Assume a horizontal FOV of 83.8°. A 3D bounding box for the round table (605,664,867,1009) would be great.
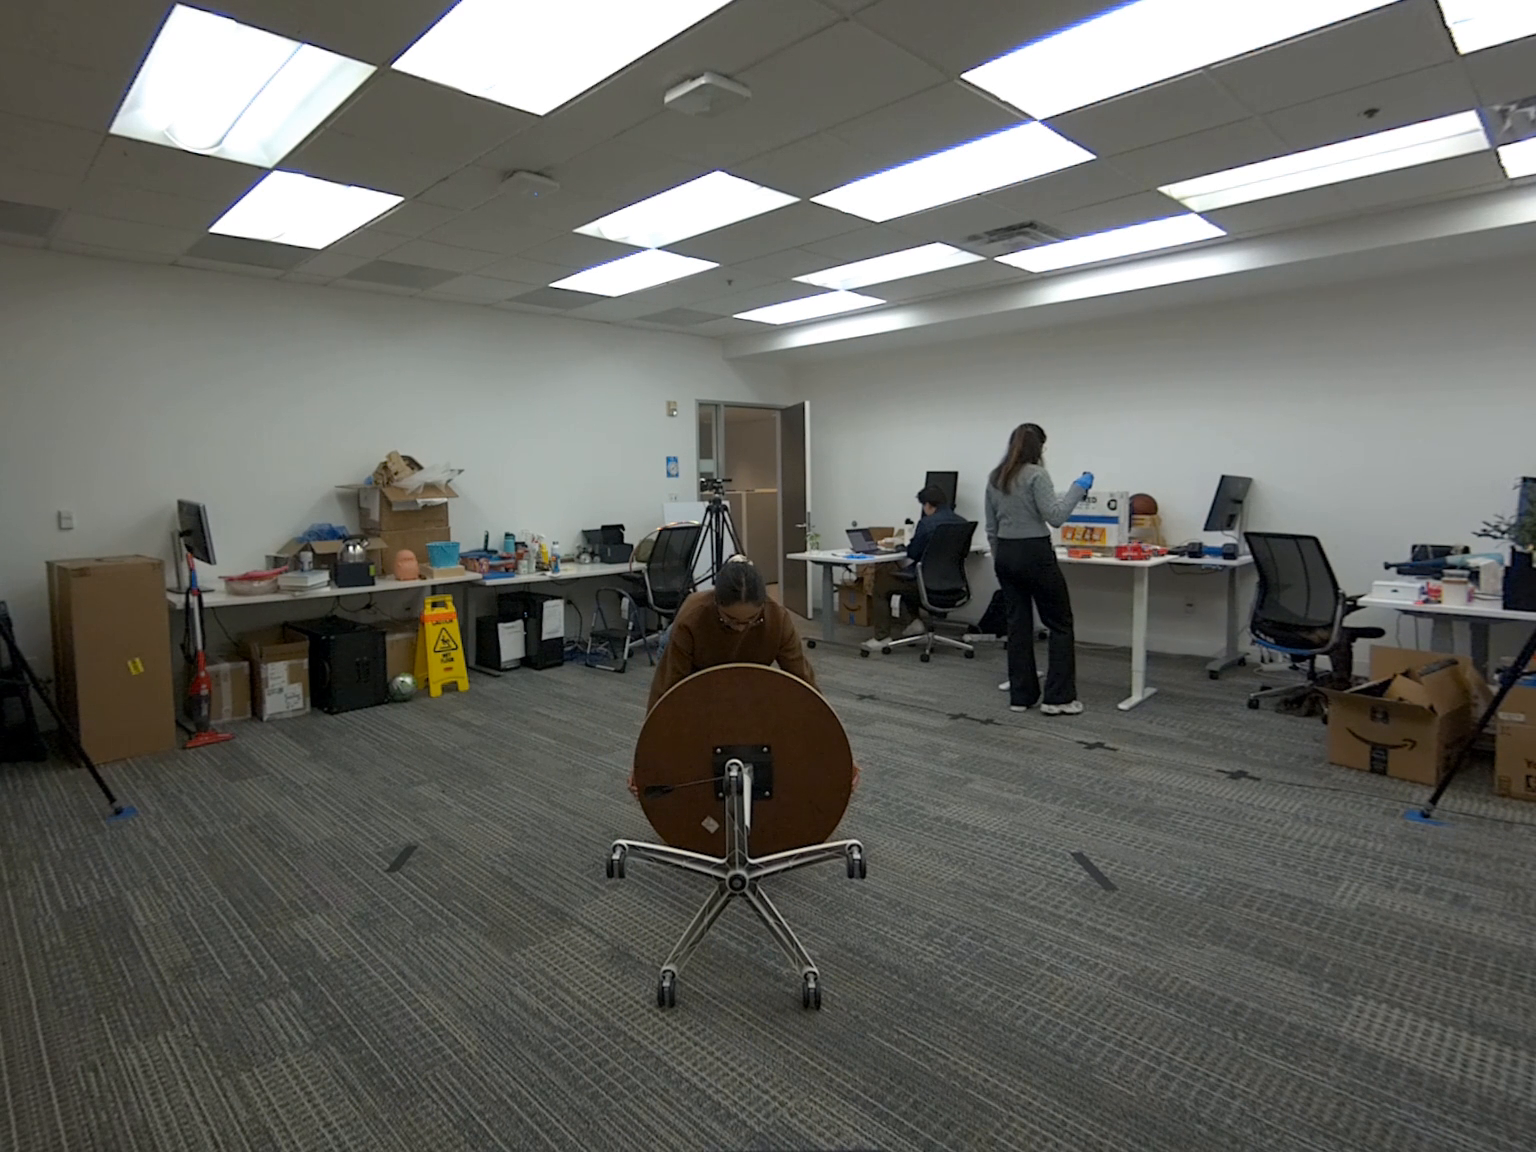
[{"bbox_3d":[-0.087,0.766,2.593,0.766,0.757,0.800,-1,11,2],"label":"round table"}]
